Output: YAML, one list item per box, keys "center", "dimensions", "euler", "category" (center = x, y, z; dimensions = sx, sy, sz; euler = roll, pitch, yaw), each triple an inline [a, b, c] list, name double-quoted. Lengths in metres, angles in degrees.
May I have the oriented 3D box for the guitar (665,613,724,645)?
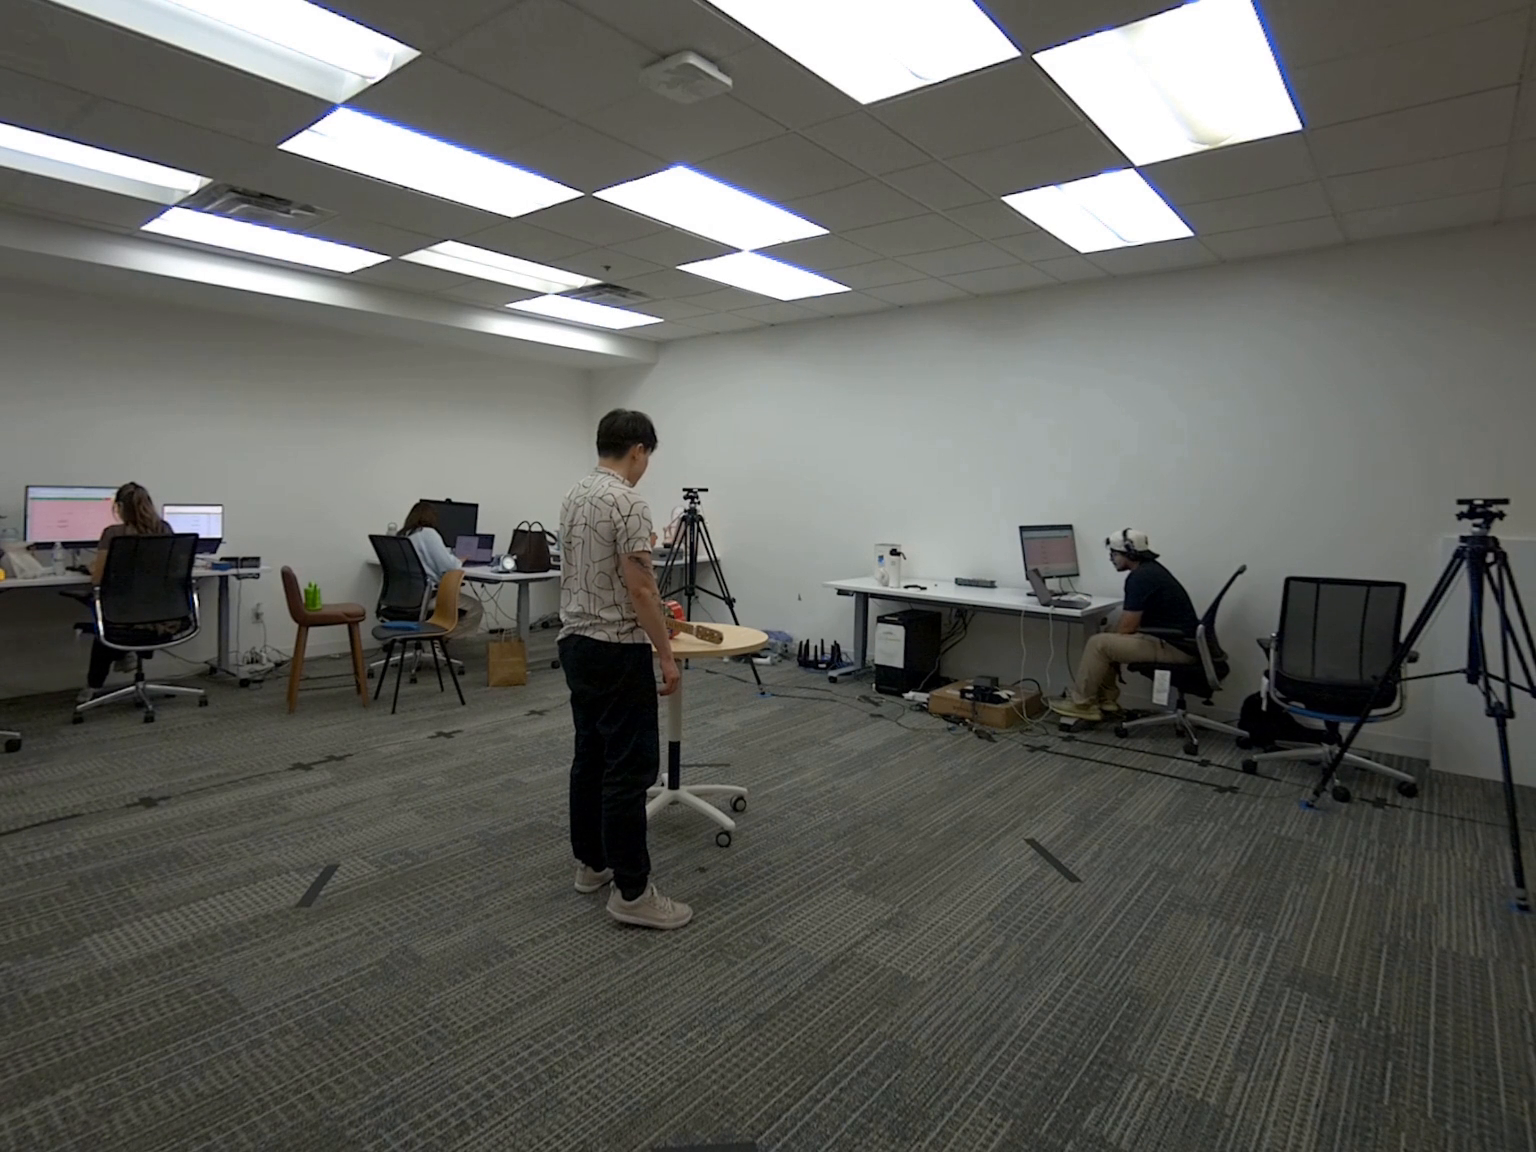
- center: [-0.393, 0.209, 3.414]
  dimensions: [0.516, 0.191, 0.069]
  euler: [23, 17, 30]
  category: "guitar"
